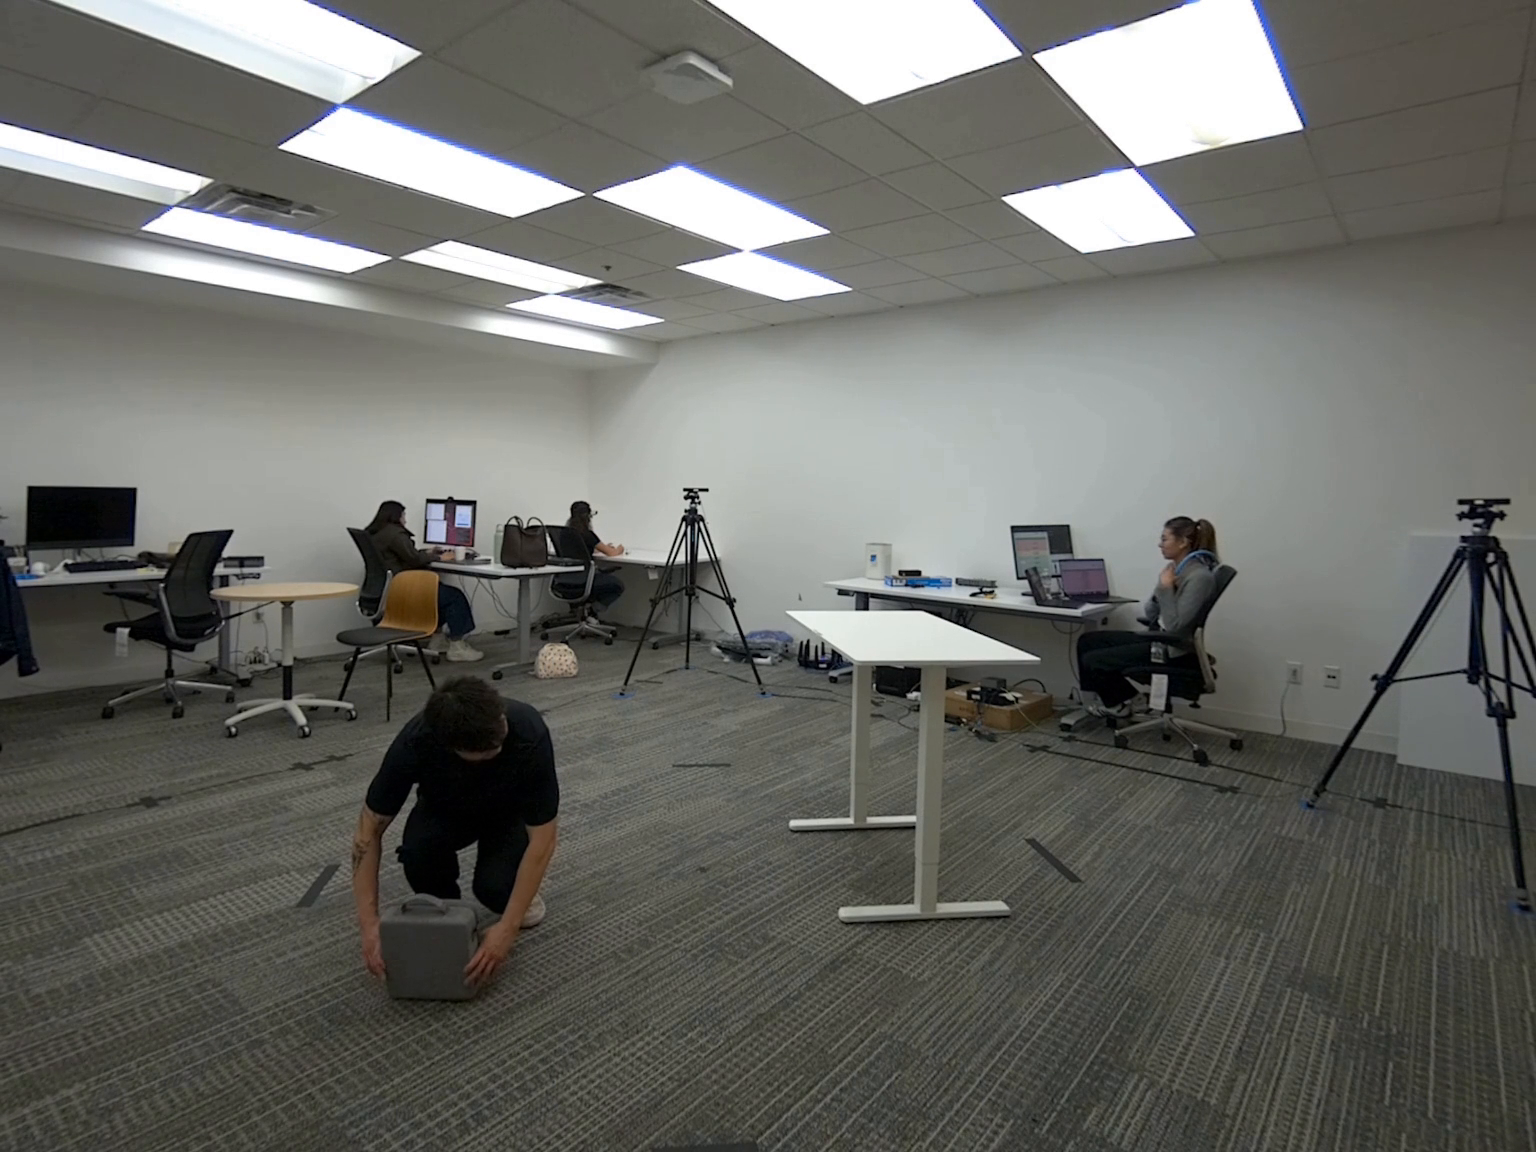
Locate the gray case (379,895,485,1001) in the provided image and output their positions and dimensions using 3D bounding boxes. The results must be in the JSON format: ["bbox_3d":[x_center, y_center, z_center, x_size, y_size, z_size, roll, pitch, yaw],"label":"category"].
[{"bbox_3d":[-0.911,0.988,2.278,0.256,0.257,0.106,-4,12,-2],"label":"gray case"}]
